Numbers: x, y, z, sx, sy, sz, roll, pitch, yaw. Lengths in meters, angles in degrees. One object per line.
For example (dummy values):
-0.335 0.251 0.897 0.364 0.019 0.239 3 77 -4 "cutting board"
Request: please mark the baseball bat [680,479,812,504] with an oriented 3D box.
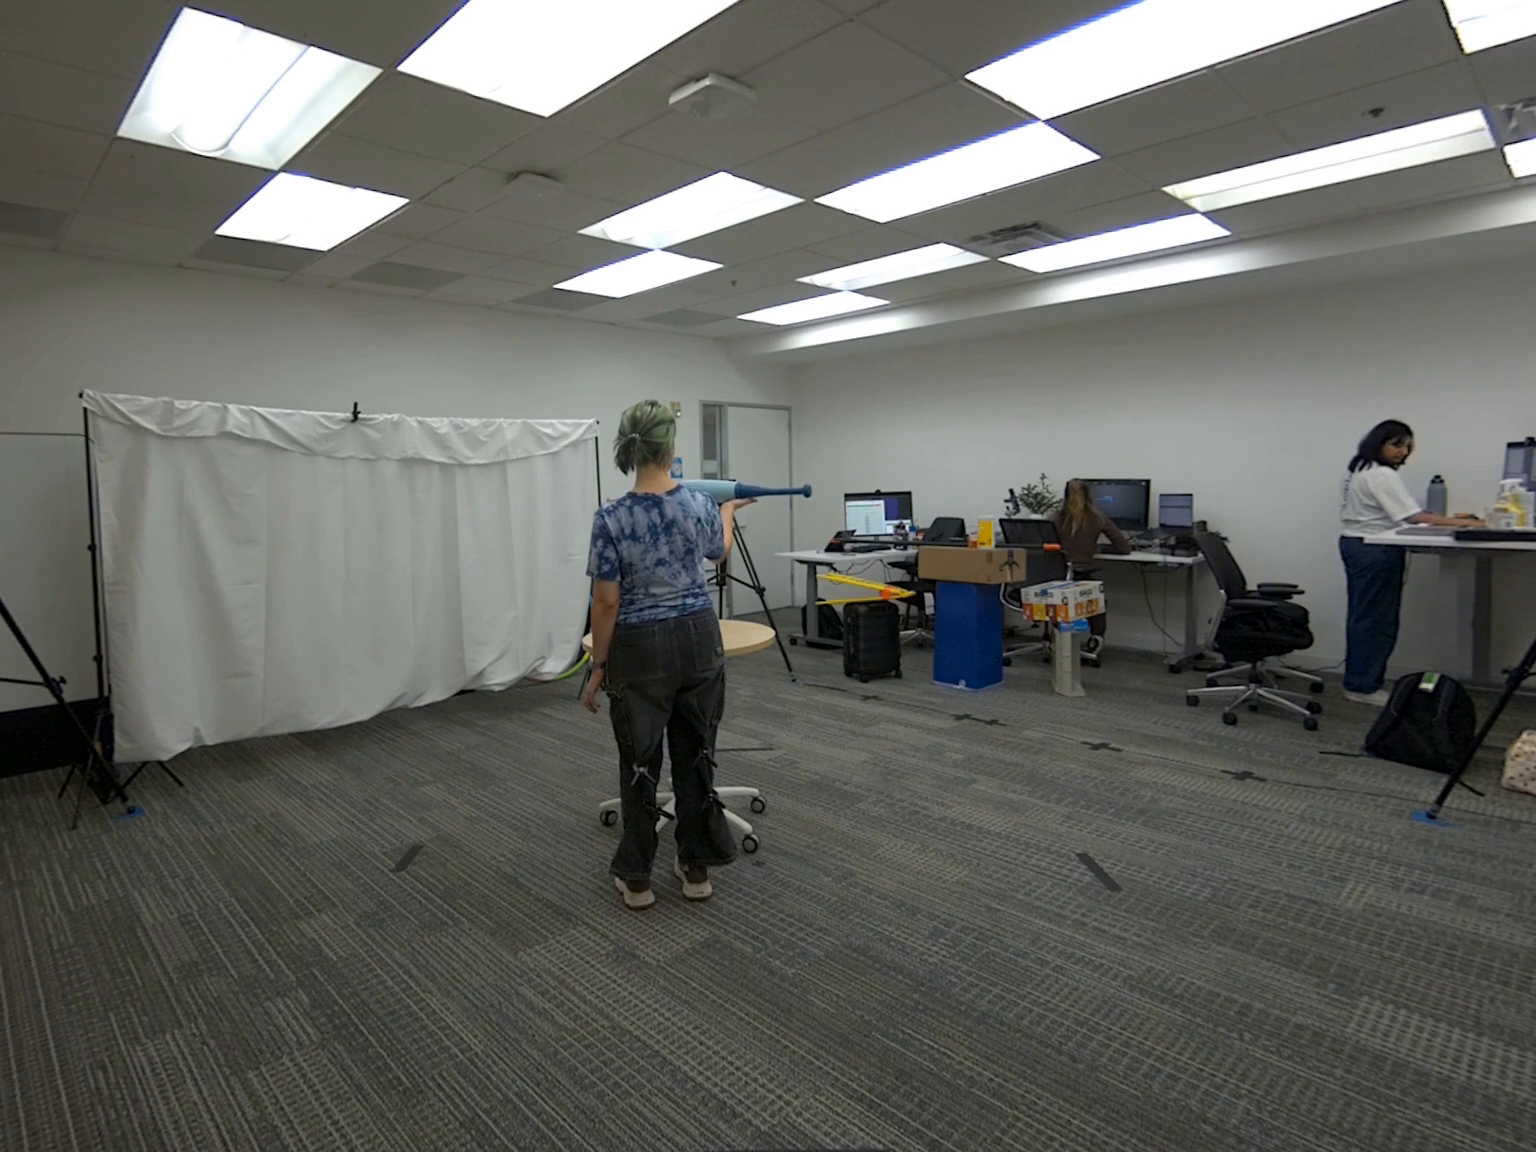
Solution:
-0.097 -0.318 3.231 0.555 0.089 0.087 2 5 24 "baseball bat"
